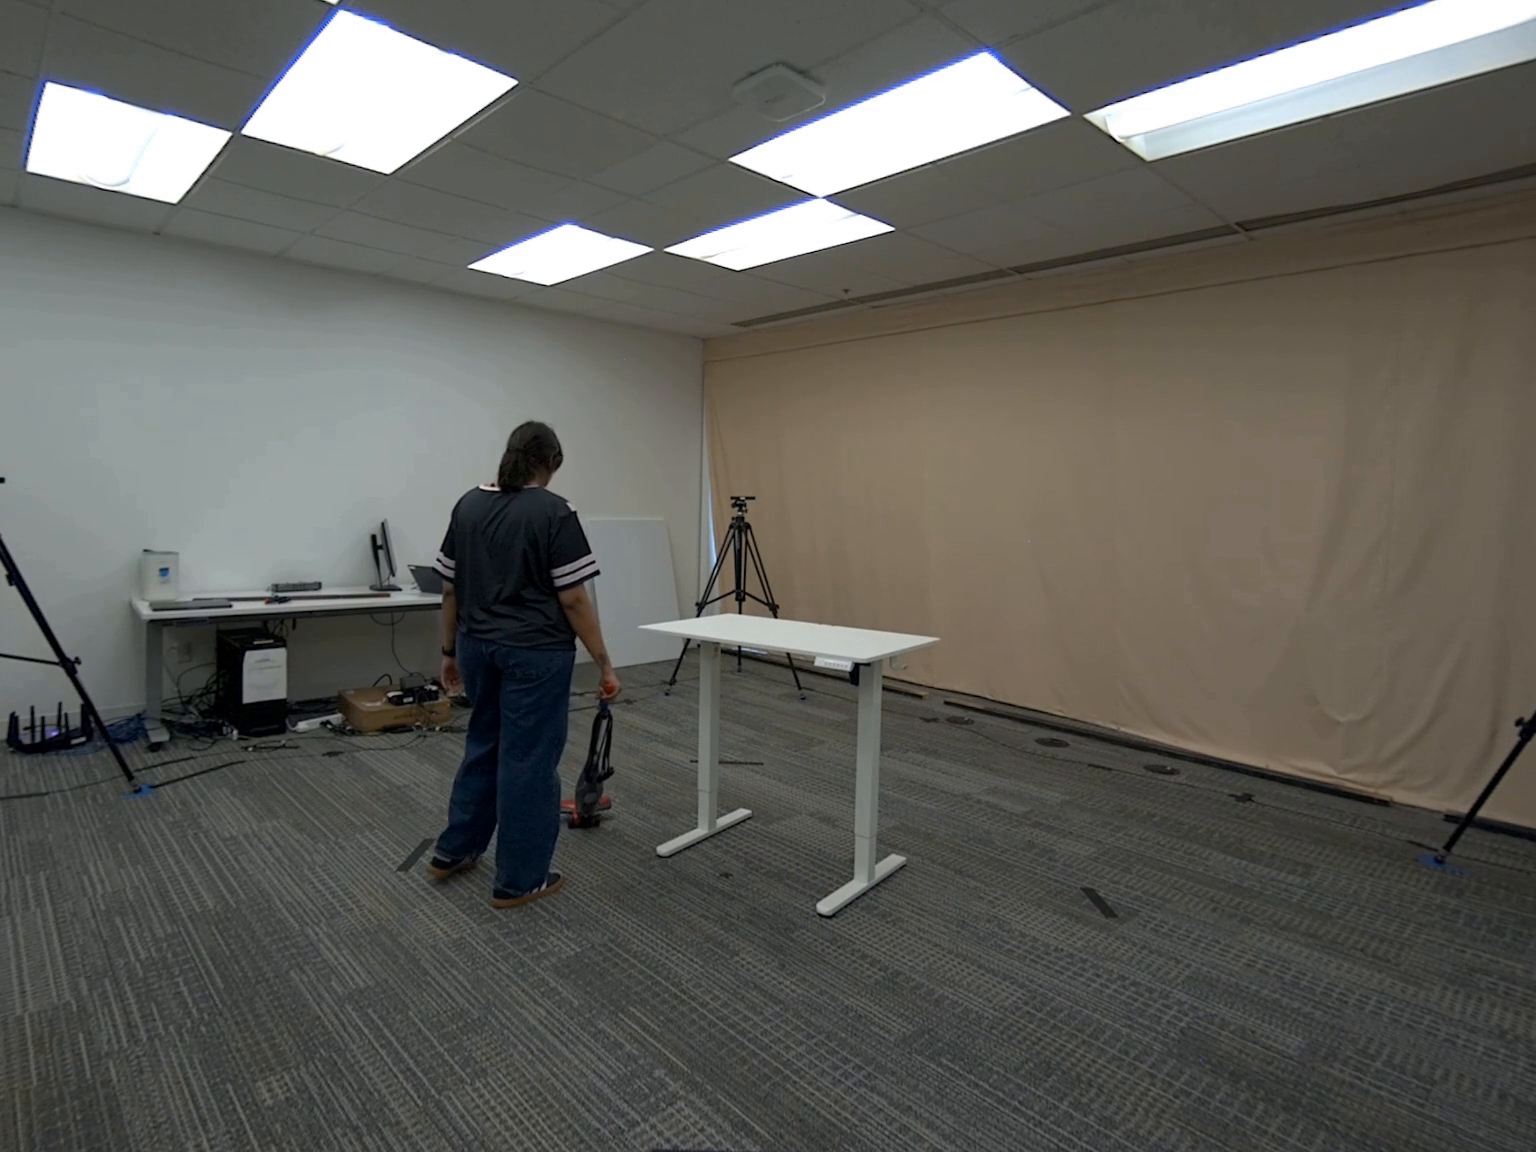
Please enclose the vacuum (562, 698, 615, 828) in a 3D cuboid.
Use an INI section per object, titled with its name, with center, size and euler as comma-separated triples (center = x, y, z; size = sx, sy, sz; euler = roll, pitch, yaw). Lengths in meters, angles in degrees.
[vacuum]
center = -0.665, 0.713, 3.206
size = 0.249, 0.147, 1.038
euler = 2, -37, -18
